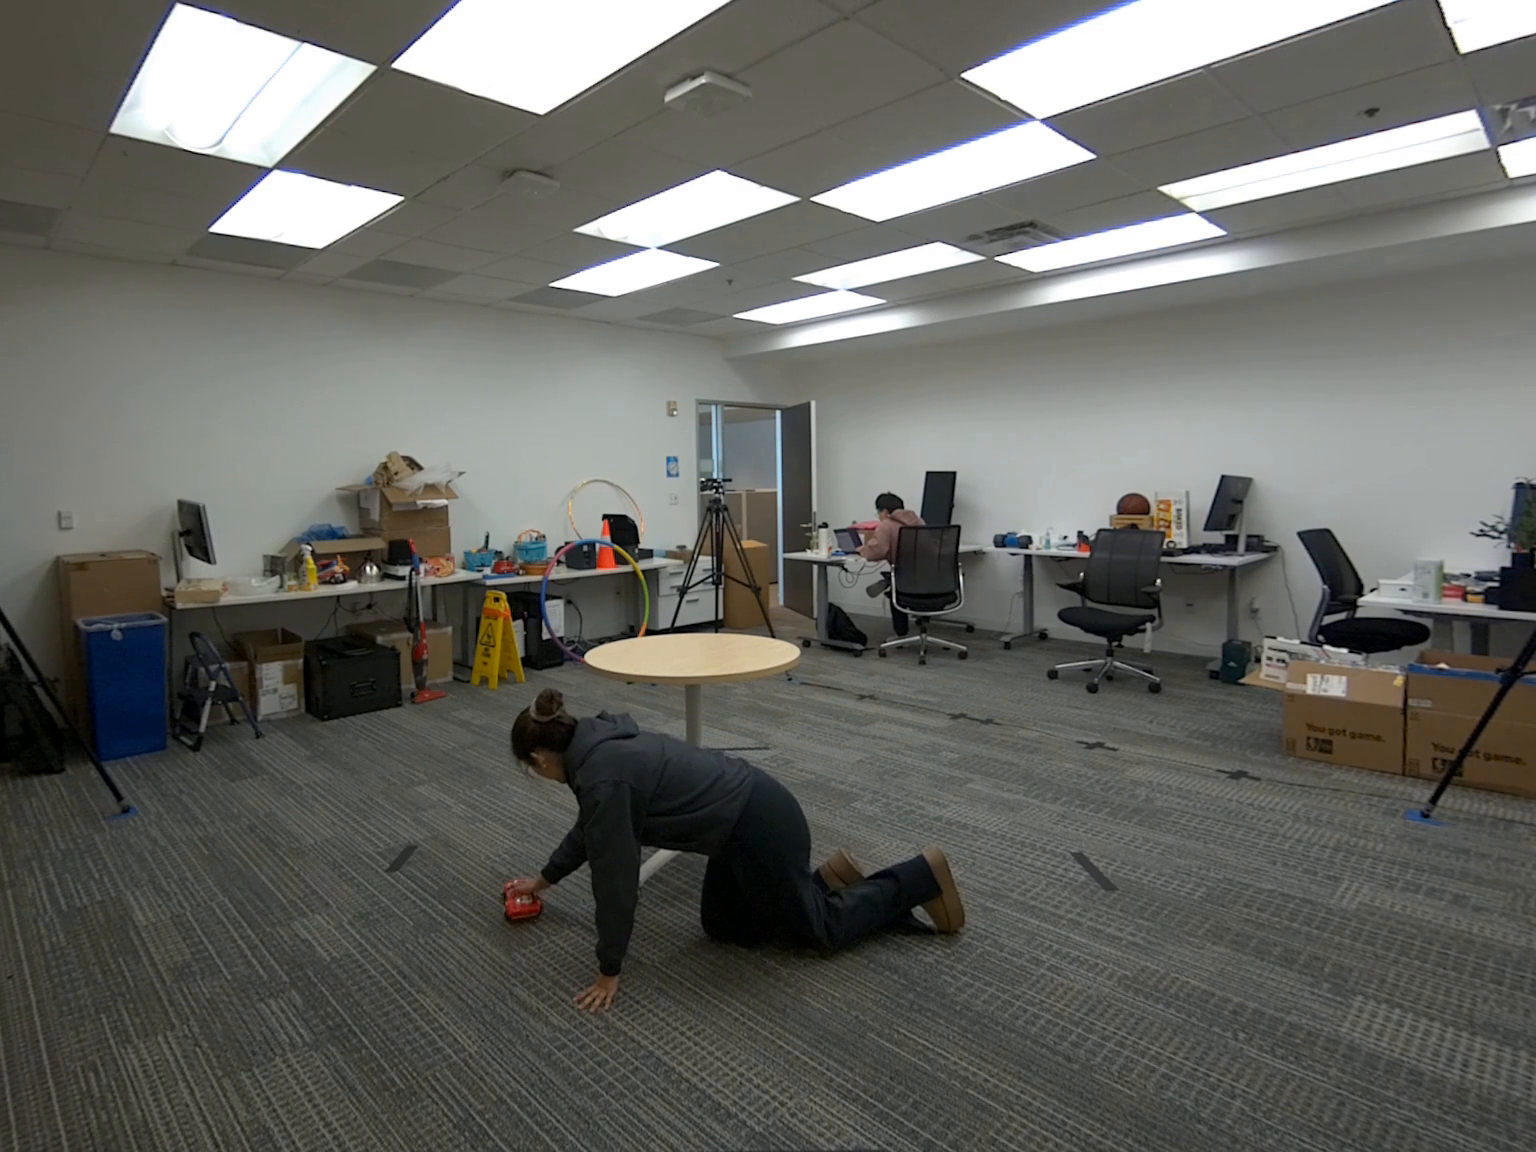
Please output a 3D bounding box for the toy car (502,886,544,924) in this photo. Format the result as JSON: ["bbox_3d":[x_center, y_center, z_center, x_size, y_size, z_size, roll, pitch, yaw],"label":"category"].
[{"bbox_3d":[-0.802,1.063,2.802,0.128,0.084,0.257,-2,-5,-18],"label":"toy car"}]
